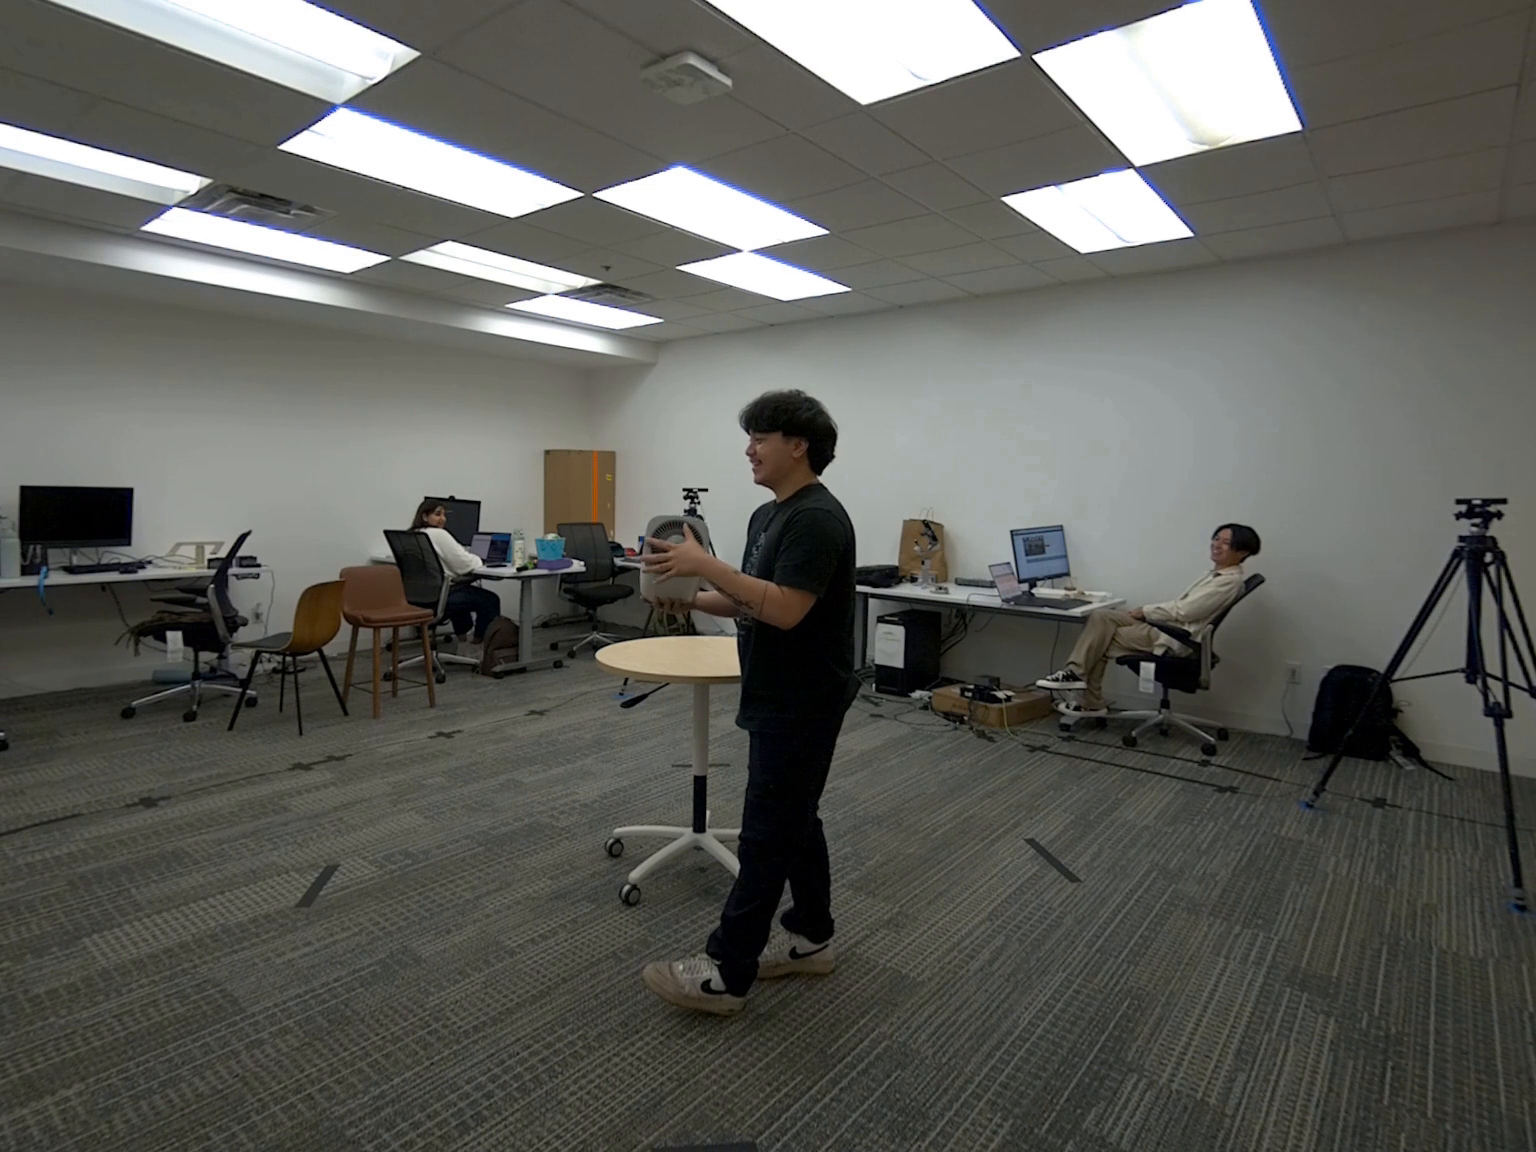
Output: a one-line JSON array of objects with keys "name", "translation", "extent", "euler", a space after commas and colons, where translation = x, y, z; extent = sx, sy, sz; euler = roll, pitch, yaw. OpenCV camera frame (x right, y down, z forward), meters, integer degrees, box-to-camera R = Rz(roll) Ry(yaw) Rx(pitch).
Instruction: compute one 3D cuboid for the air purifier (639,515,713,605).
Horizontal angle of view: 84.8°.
[{"name": "air purifier", "translation": [-0.271, -0.038, 2.343], "extent": [0.170, 0.174, 0.262], "euler": [6, -21, -7]}]
